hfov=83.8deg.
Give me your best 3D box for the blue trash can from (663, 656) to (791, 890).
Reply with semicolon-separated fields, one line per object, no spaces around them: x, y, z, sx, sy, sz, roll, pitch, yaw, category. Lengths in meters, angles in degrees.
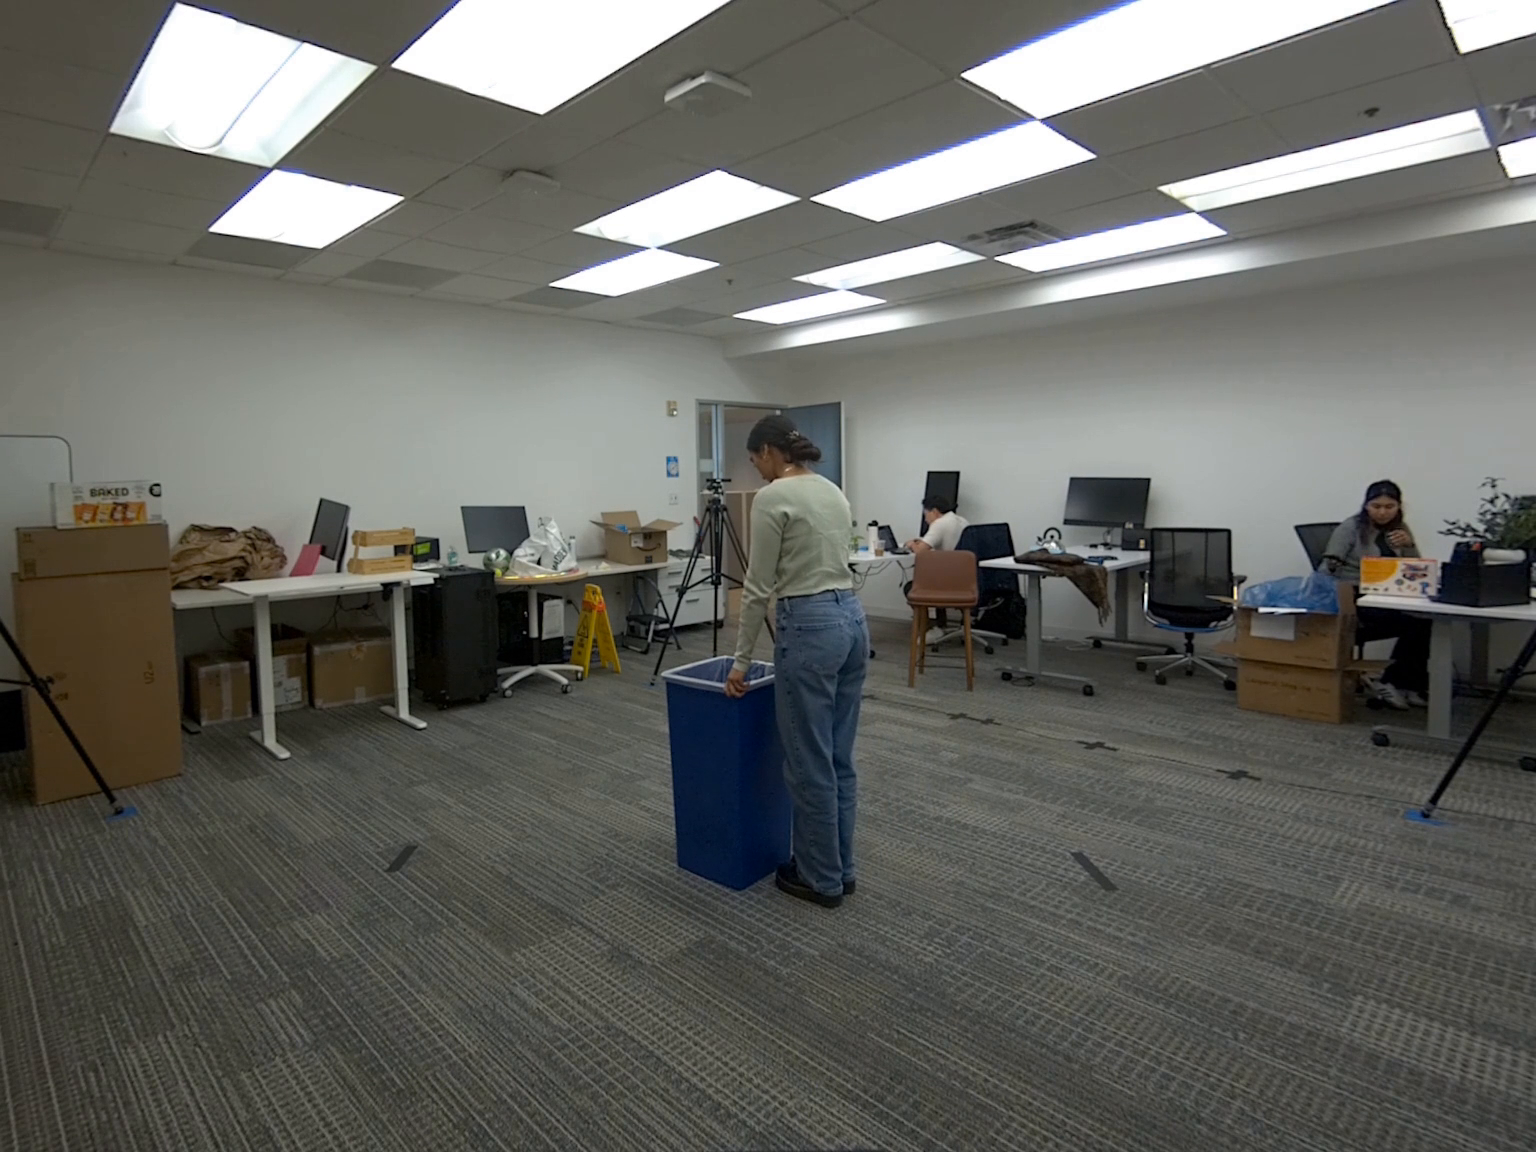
-0.129;0.690;3.074;0.389;0.711;0.364;2;5;39;blue trash can
